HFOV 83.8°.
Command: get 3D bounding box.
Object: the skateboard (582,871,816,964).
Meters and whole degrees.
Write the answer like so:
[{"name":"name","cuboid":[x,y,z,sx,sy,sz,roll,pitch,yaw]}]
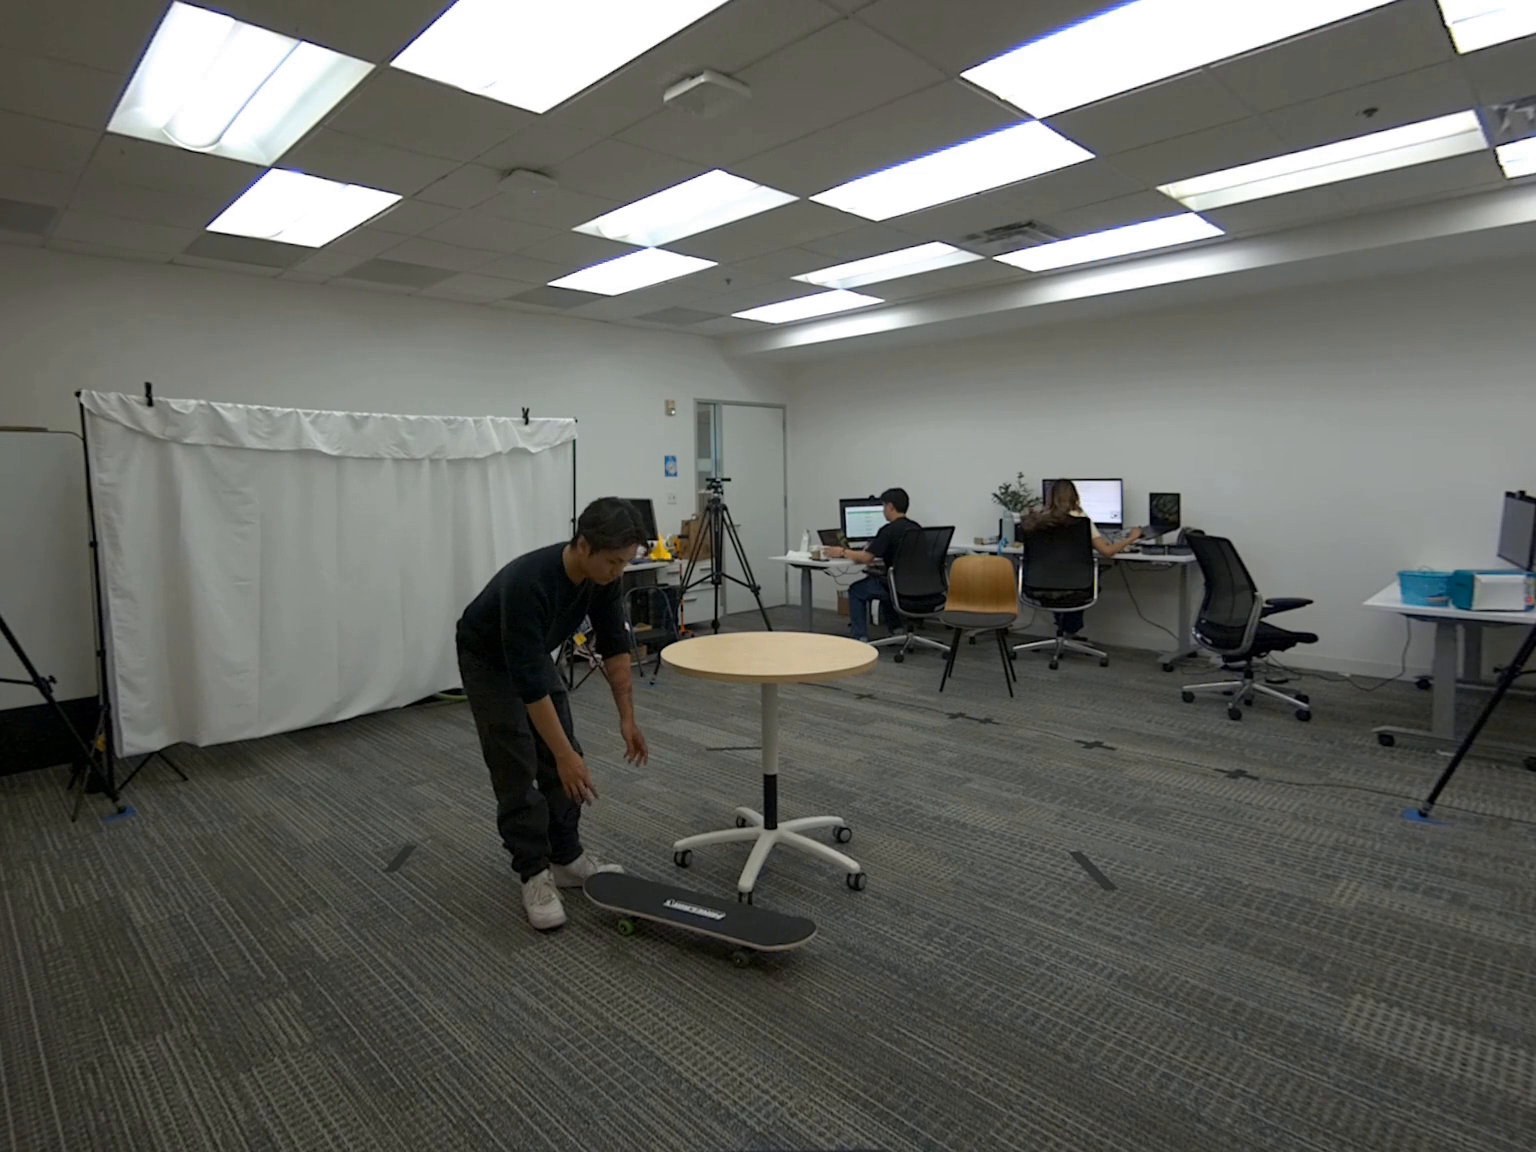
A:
[{"name":"skateboard","cuboid":[-0.226,1.046,2.600,0.805,0.110,0.190,2,7,27]}]
